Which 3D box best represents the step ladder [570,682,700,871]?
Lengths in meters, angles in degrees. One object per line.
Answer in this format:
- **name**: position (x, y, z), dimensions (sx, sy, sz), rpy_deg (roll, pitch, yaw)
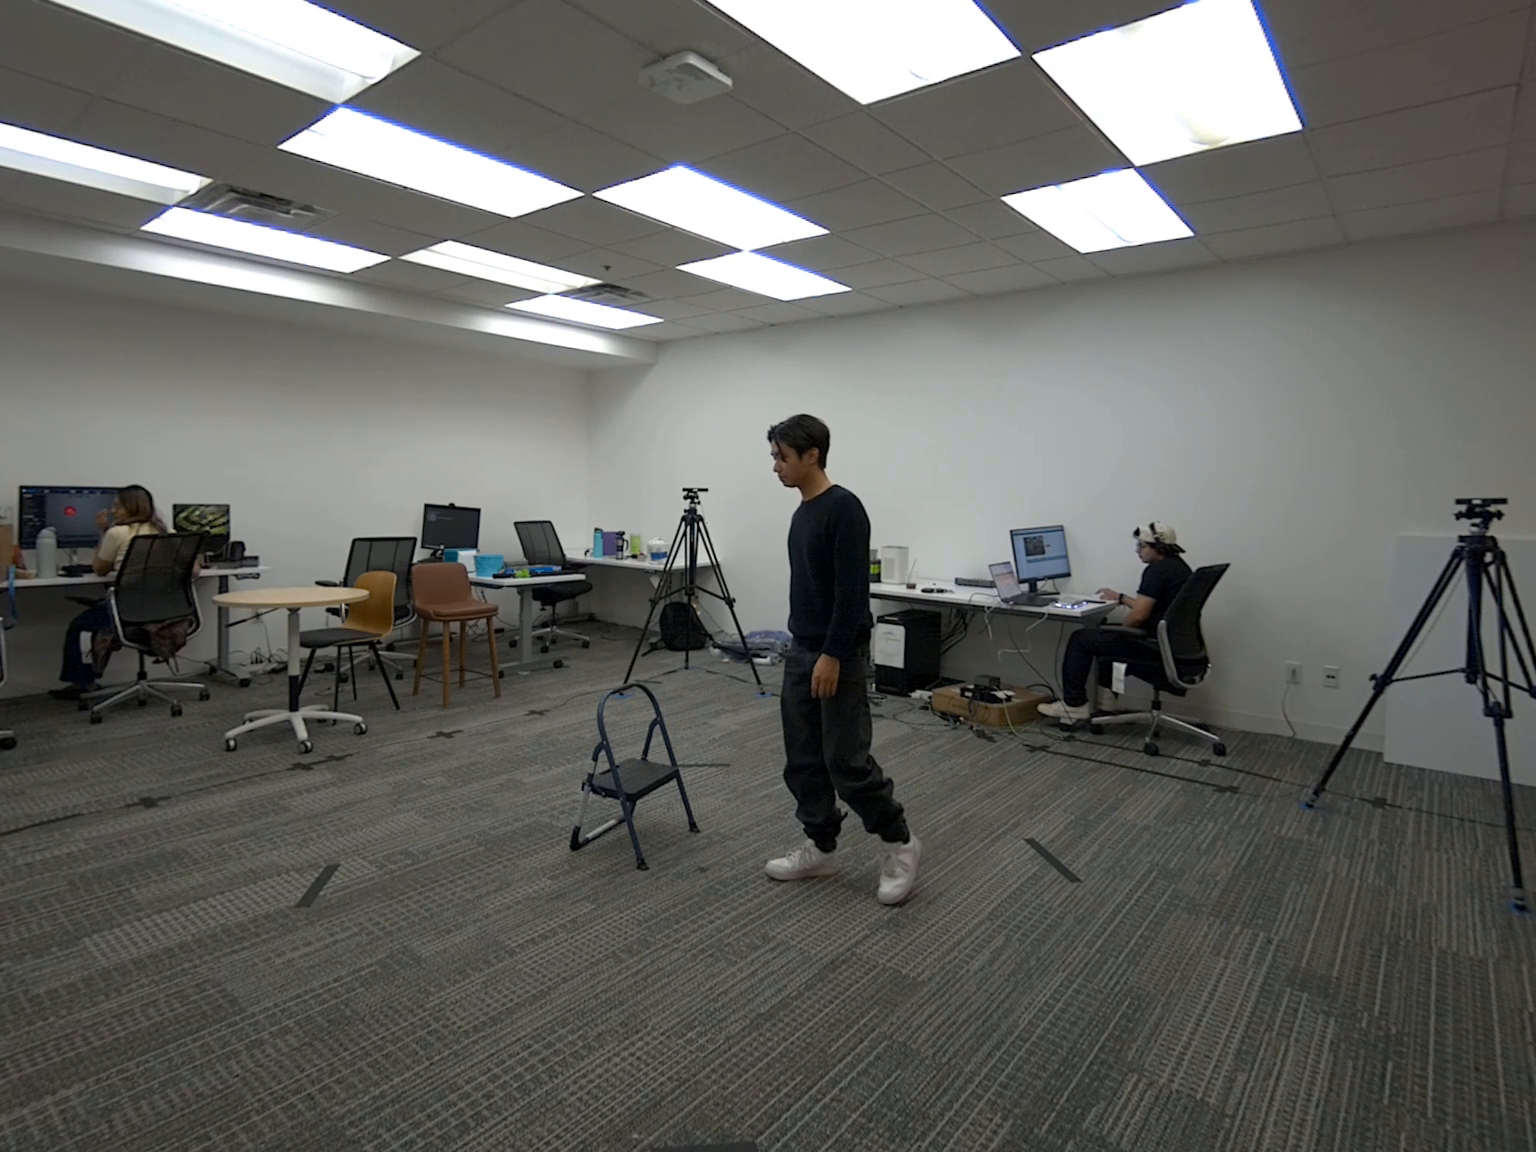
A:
- **step ladder**: position (-0.526, 0.738, 3.344), dimensions (0.358, 0.604, 0.421), rpy_deg (3, 4, 25)
